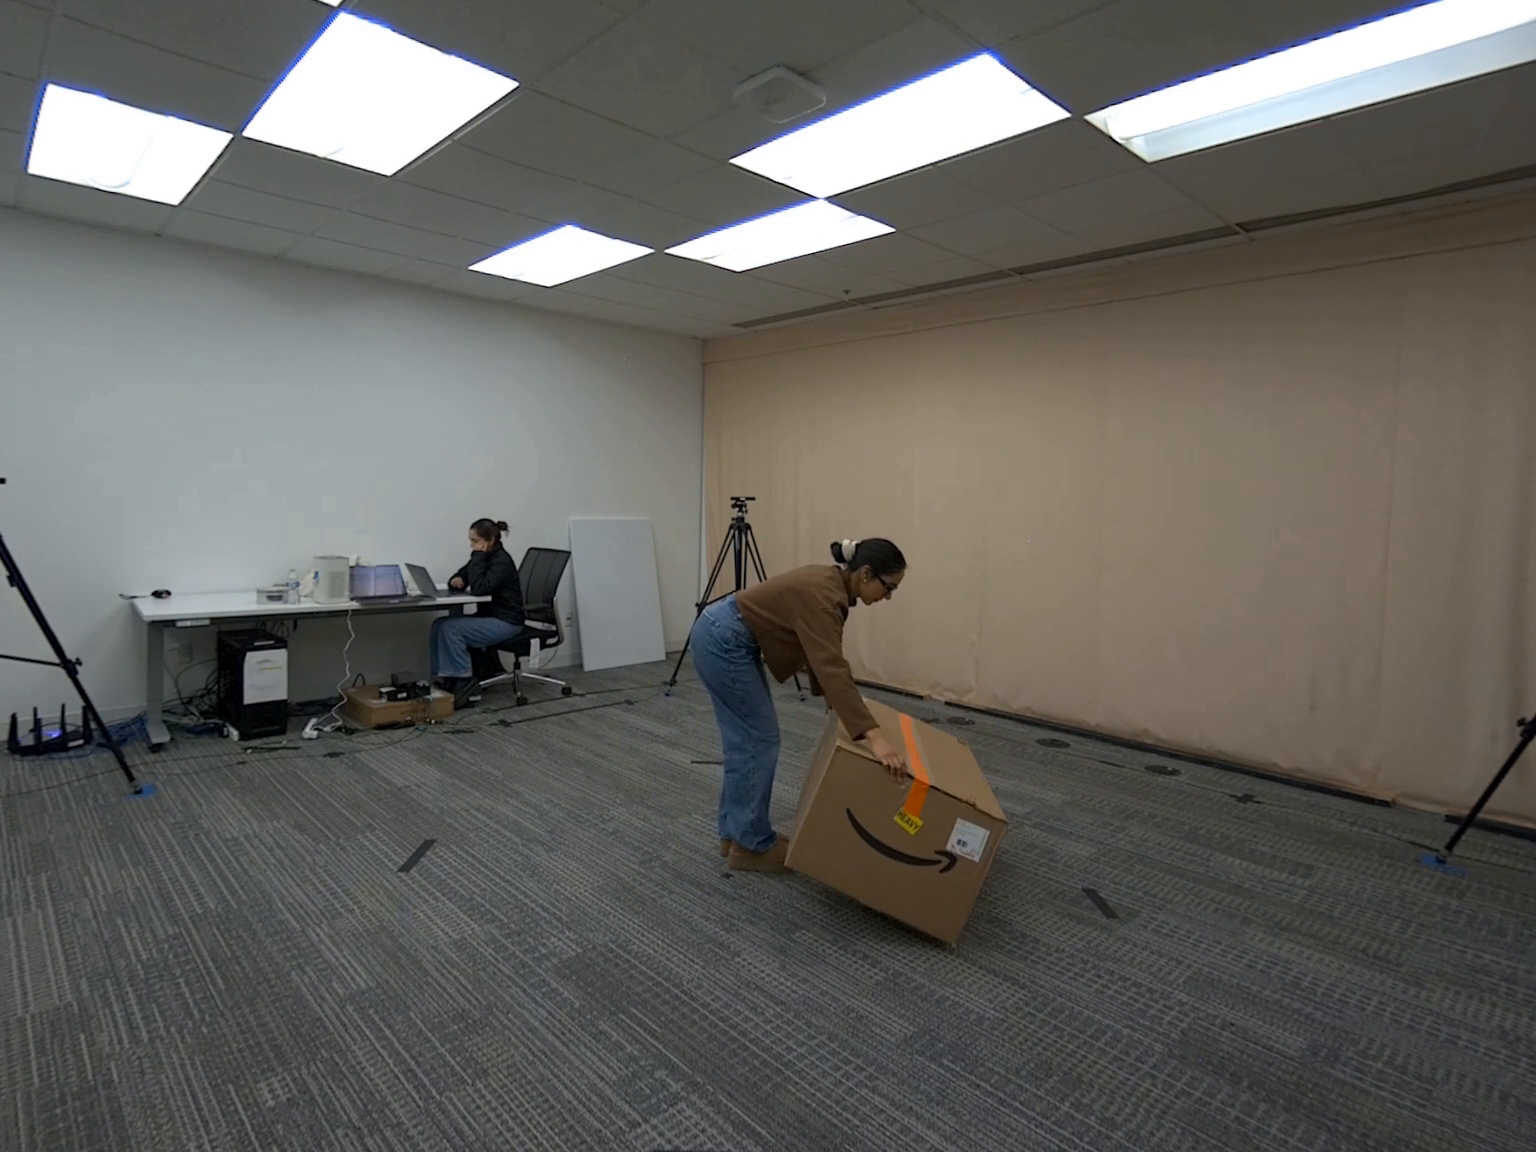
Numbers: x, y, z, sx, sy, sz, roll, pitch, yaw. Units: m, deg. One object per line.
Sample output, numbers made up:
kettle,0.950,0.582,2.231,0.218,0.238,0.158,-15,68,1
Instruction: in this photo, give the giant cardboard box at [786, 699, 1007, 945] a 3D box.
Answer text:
giant cardboard box,0.446,0.788,3.108,0.581,0.425,1.022,20,6,5
